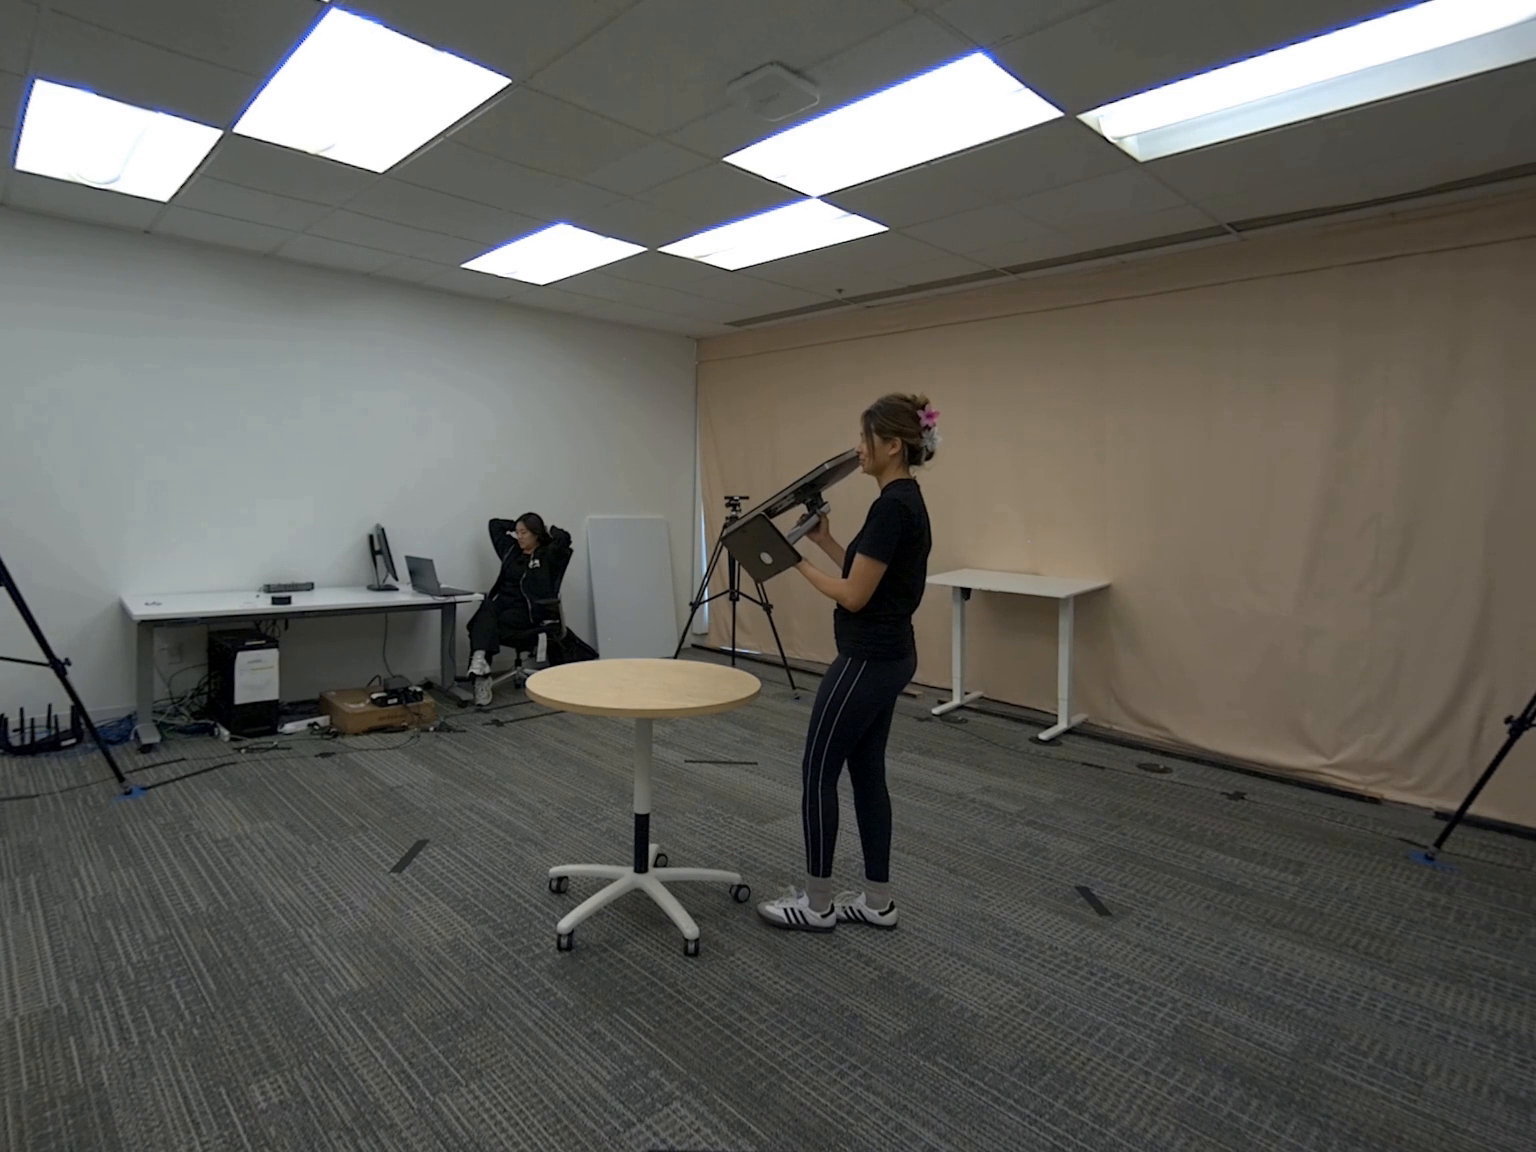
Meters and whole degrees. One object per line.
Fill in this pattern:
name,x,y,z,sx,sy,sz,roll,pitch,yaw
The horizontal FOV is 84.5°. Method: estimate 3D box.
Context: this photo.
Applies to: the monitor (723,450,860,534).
monitor,0.091,-0.252,2.894,0.544,0.186,0.521,-29,12,50
